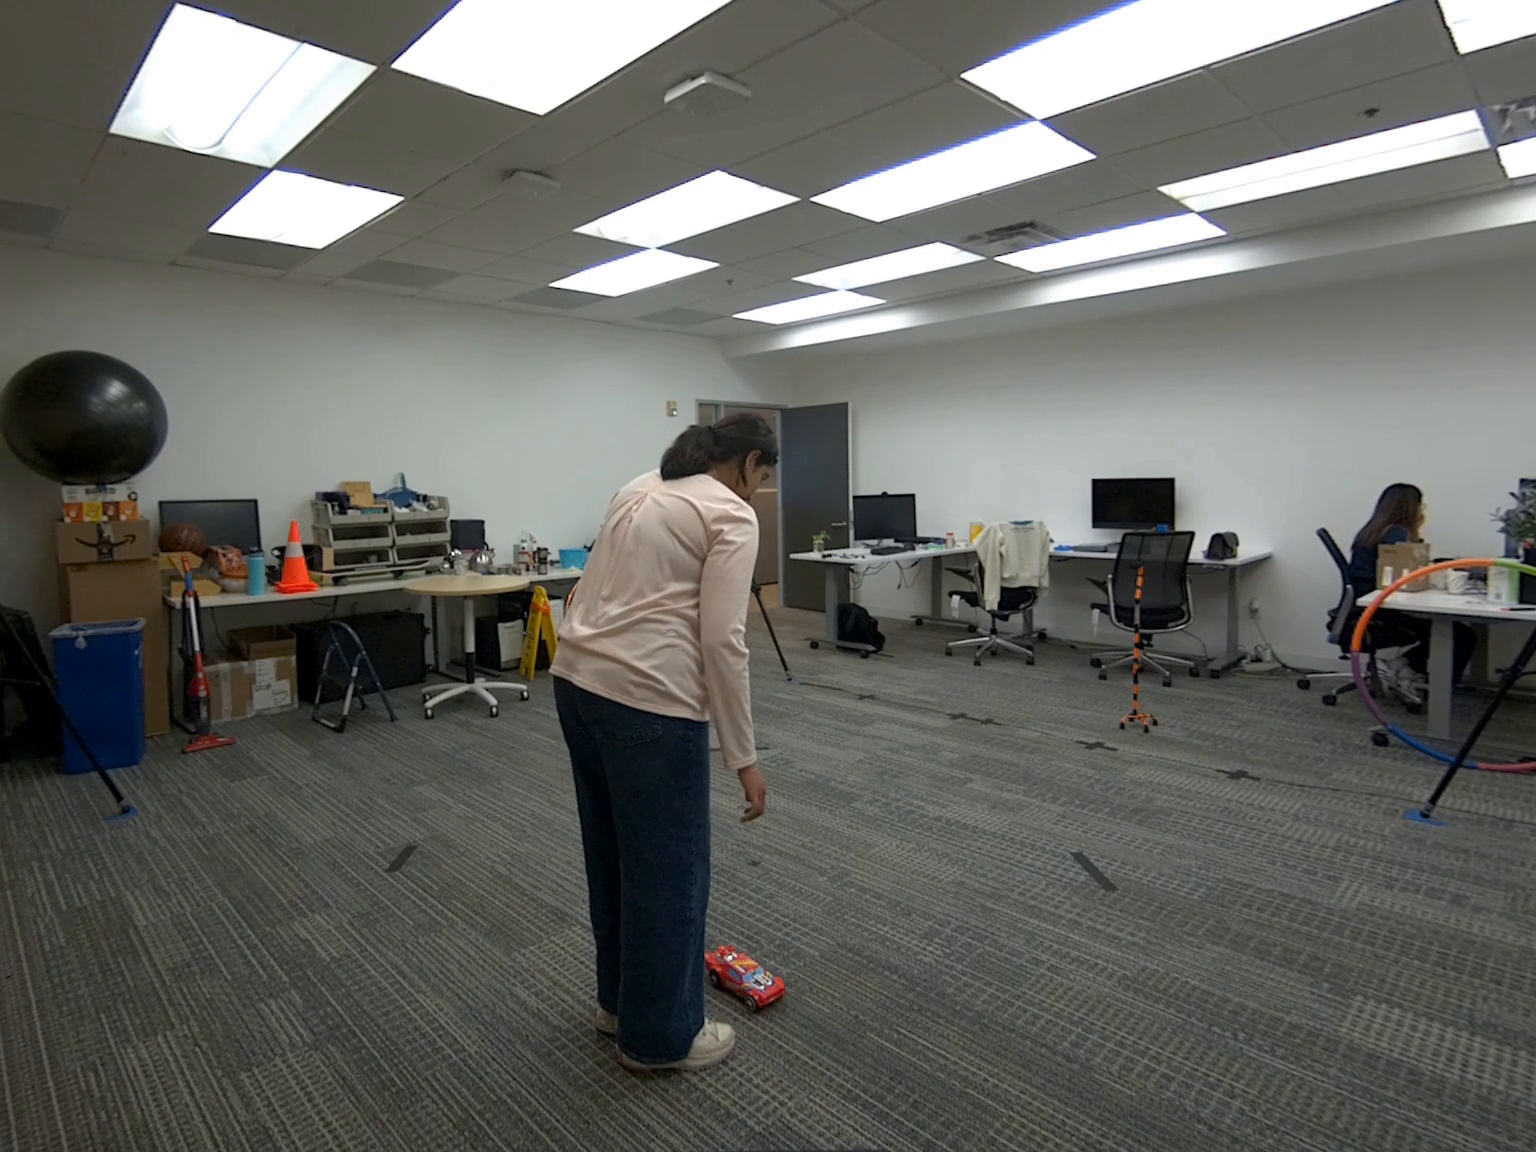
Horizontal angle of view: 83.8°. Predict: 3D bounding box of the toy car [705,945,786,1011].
[{"bbox_3d":[-0.068,1.098,2.352,0.127,0.082,0.264,-7,19,-40],"label":"toy car"}]
